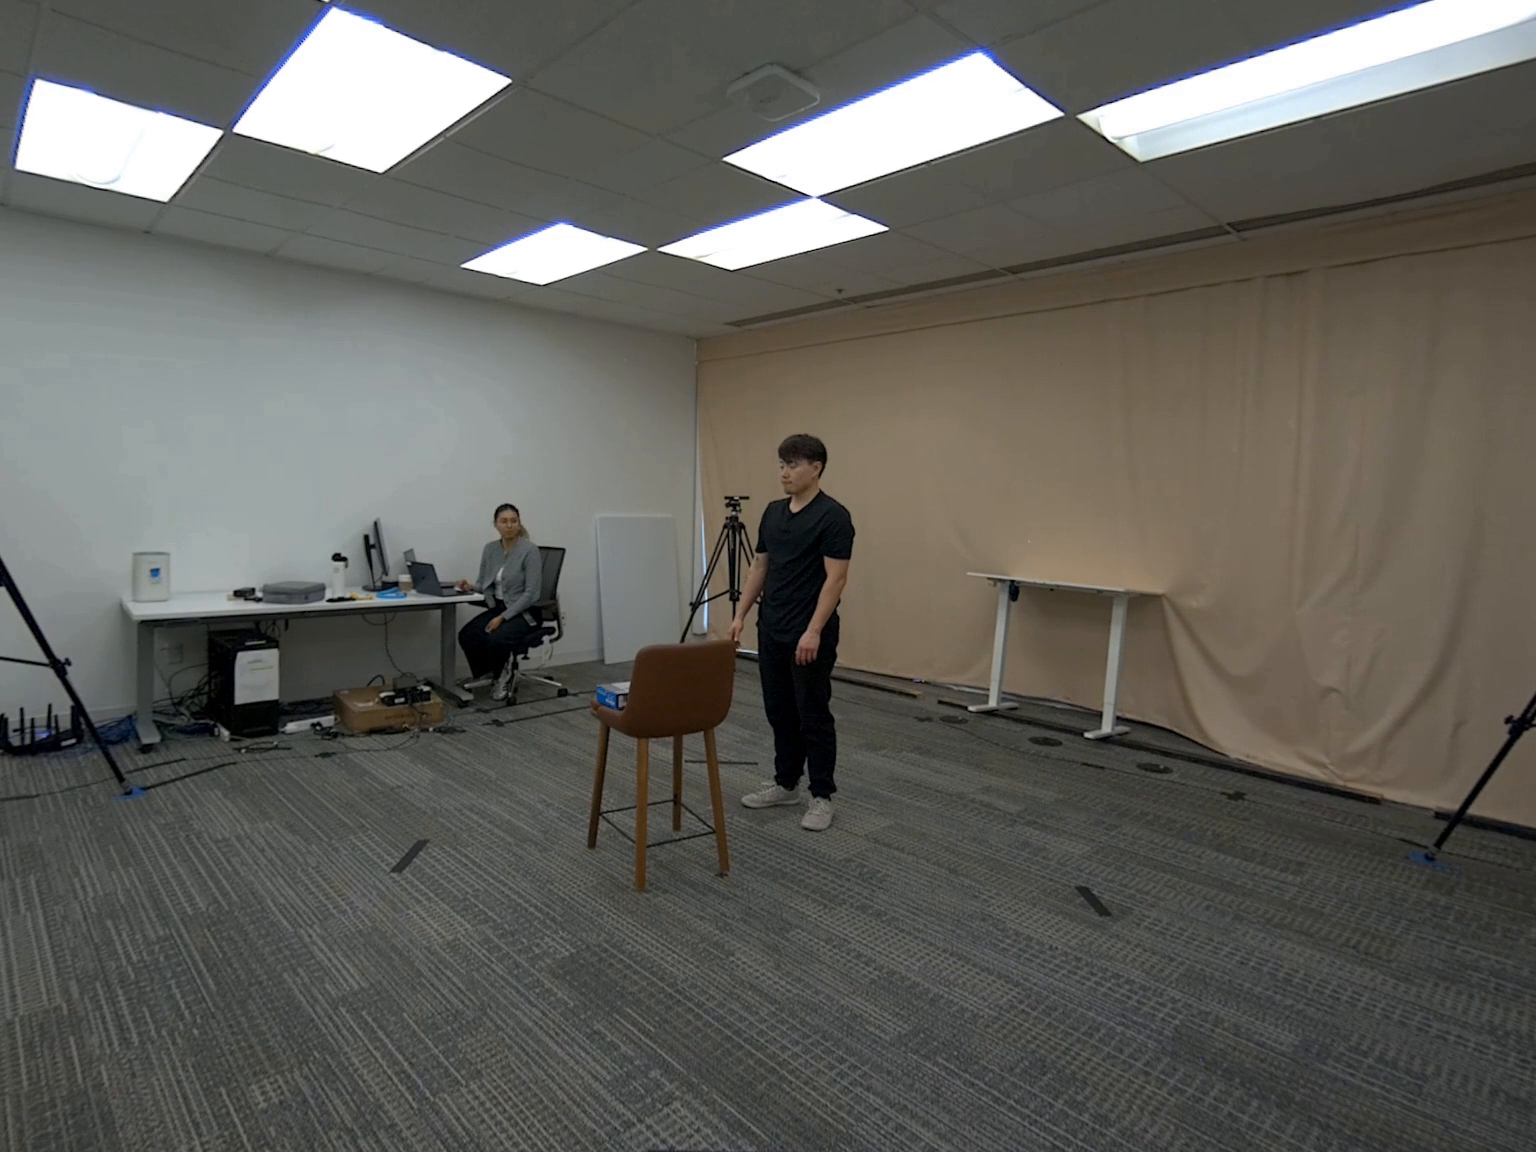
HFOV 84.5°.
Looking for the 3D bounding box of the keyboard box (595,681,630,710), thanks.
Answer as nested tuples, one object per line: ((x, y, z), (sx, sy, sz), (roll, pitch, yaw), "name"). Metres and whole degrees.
((-0.430, 0.444, 3.234), (0.427, 0.059, 0.180), (-2, 5, -33), "keyboard box")
